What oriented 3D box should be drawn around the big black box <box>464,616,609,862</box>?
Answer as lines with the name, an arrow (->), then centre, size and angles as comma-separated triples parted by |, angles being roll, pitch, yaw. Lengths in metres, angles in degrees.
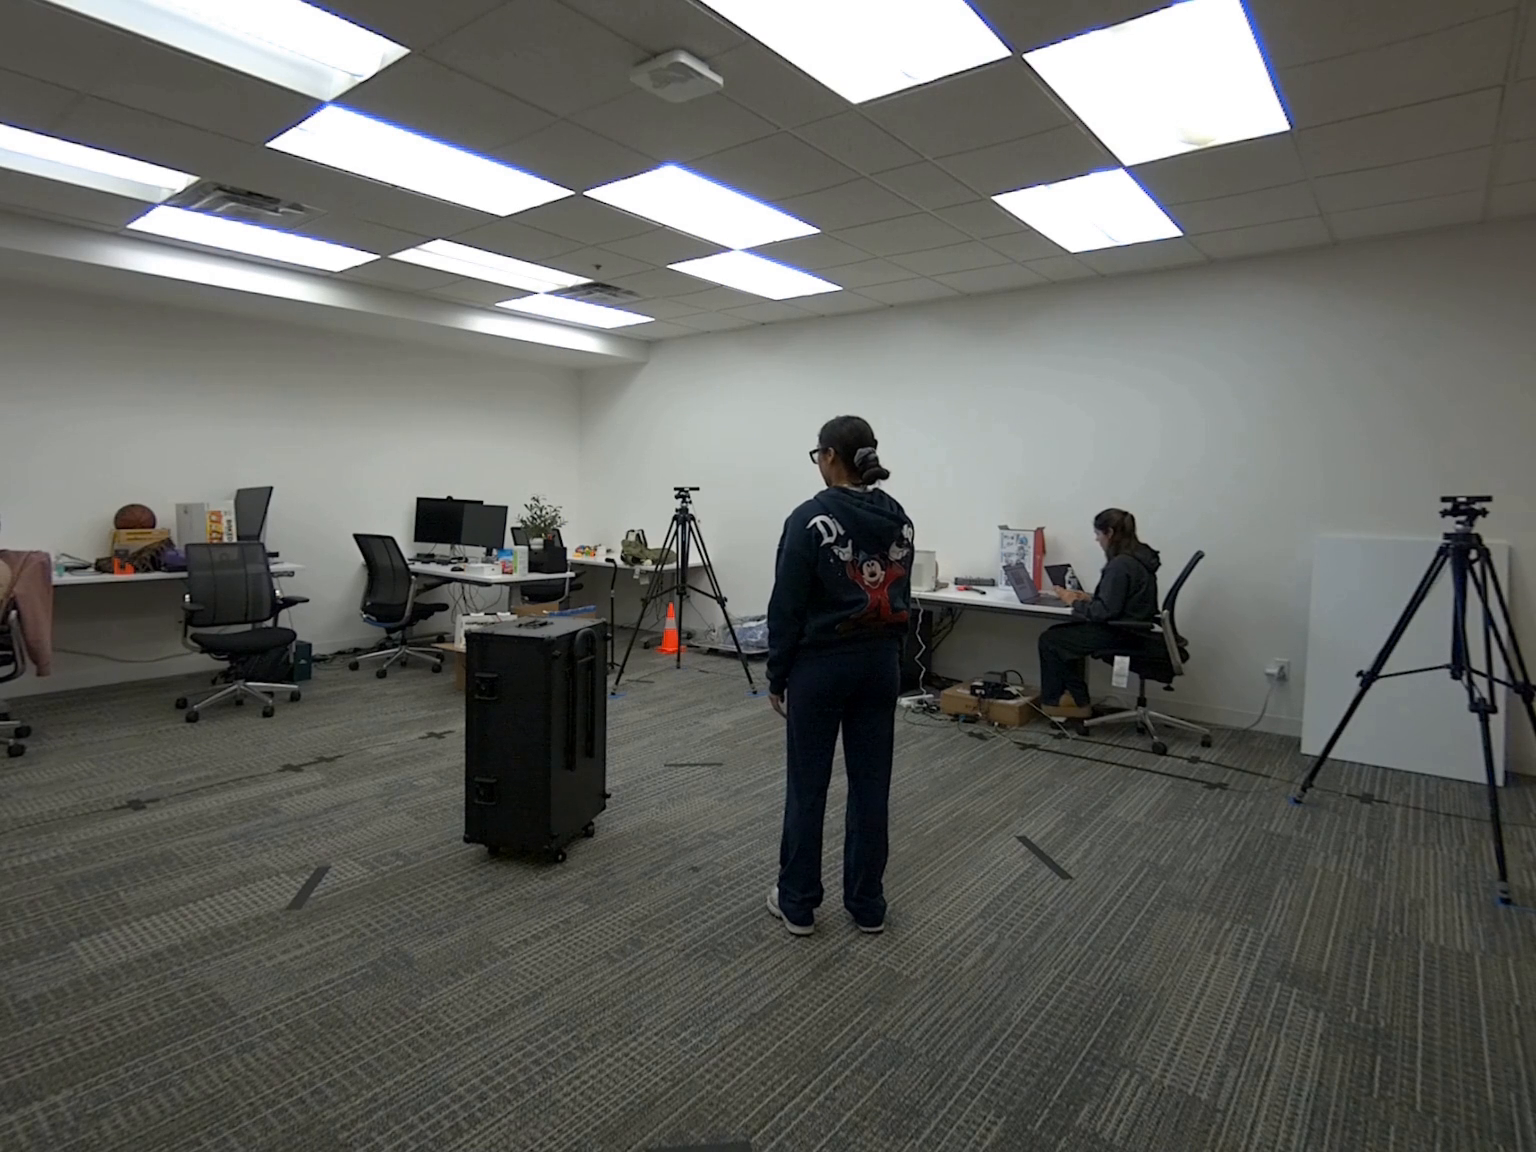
big black box -> -0.886, 0.613, 3.300 | 0.403, 0.860, 0.513 | 2, 3, 15
